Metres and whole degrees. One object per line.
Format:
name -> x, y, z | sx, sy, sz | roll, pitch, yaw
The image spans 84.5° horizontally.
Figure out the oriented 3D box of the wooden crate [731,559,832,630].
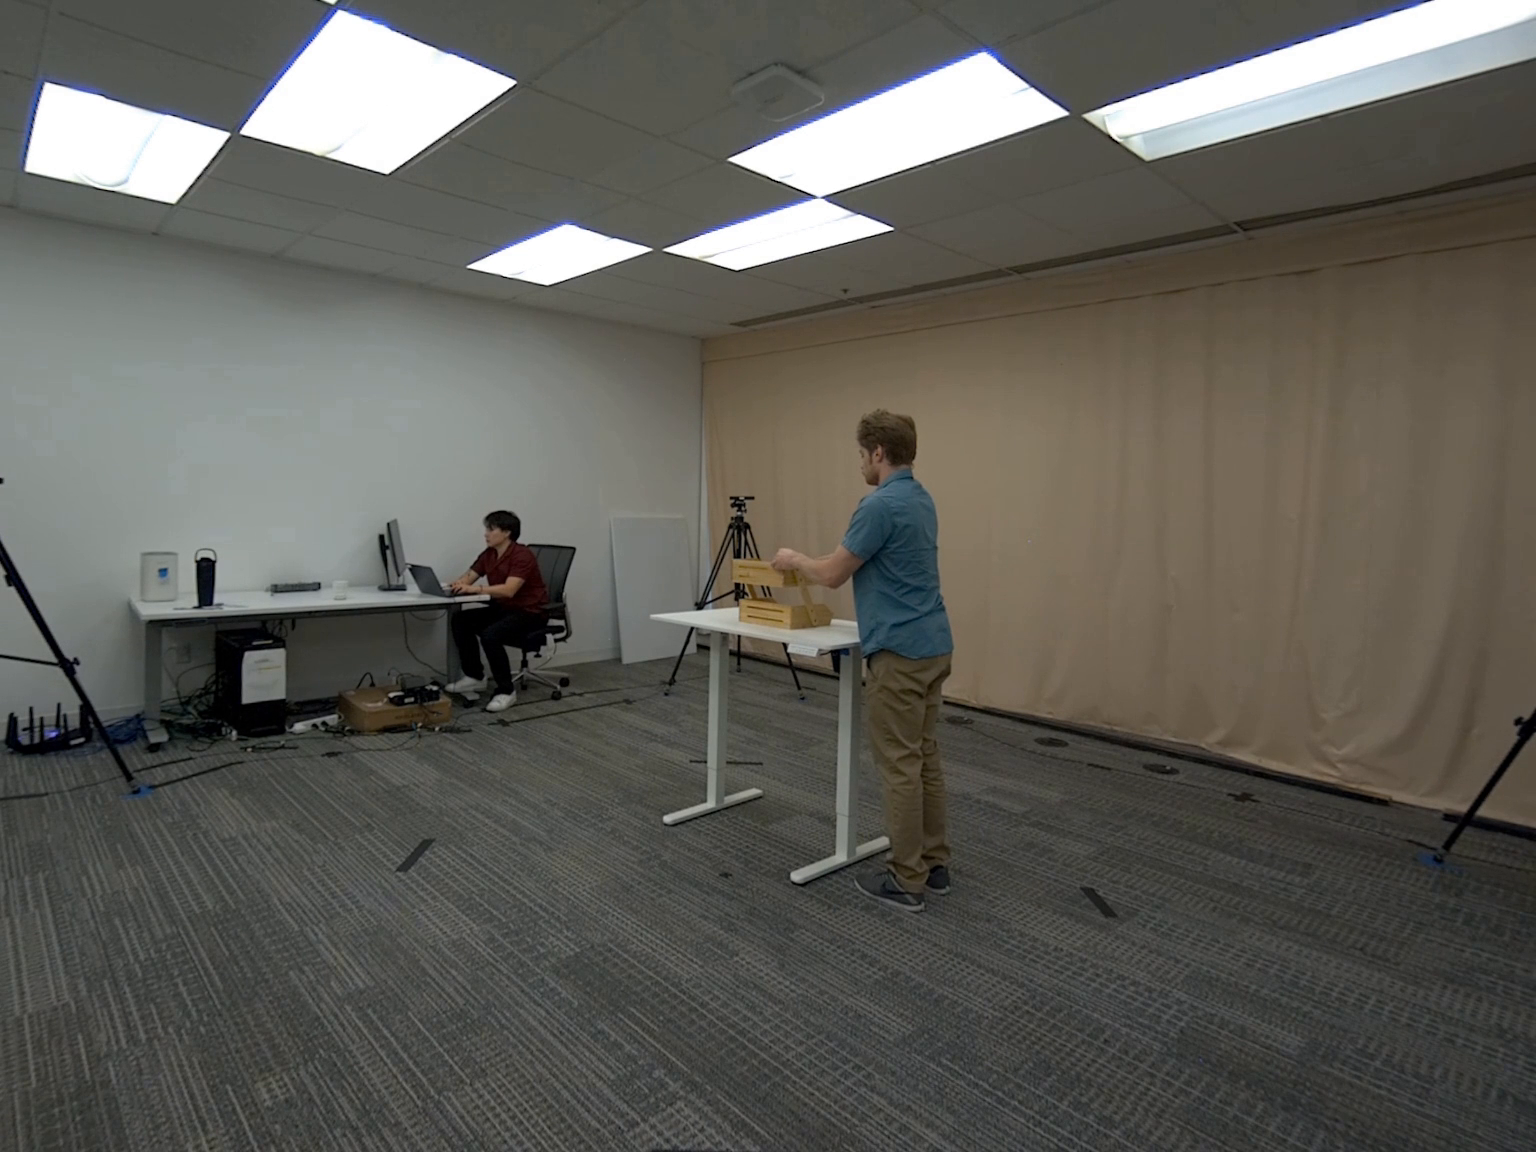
wooden crate -> 0.047, 0.064, 3.454 | 0.295, 0.272, 0.333 | -3, 5, -45
